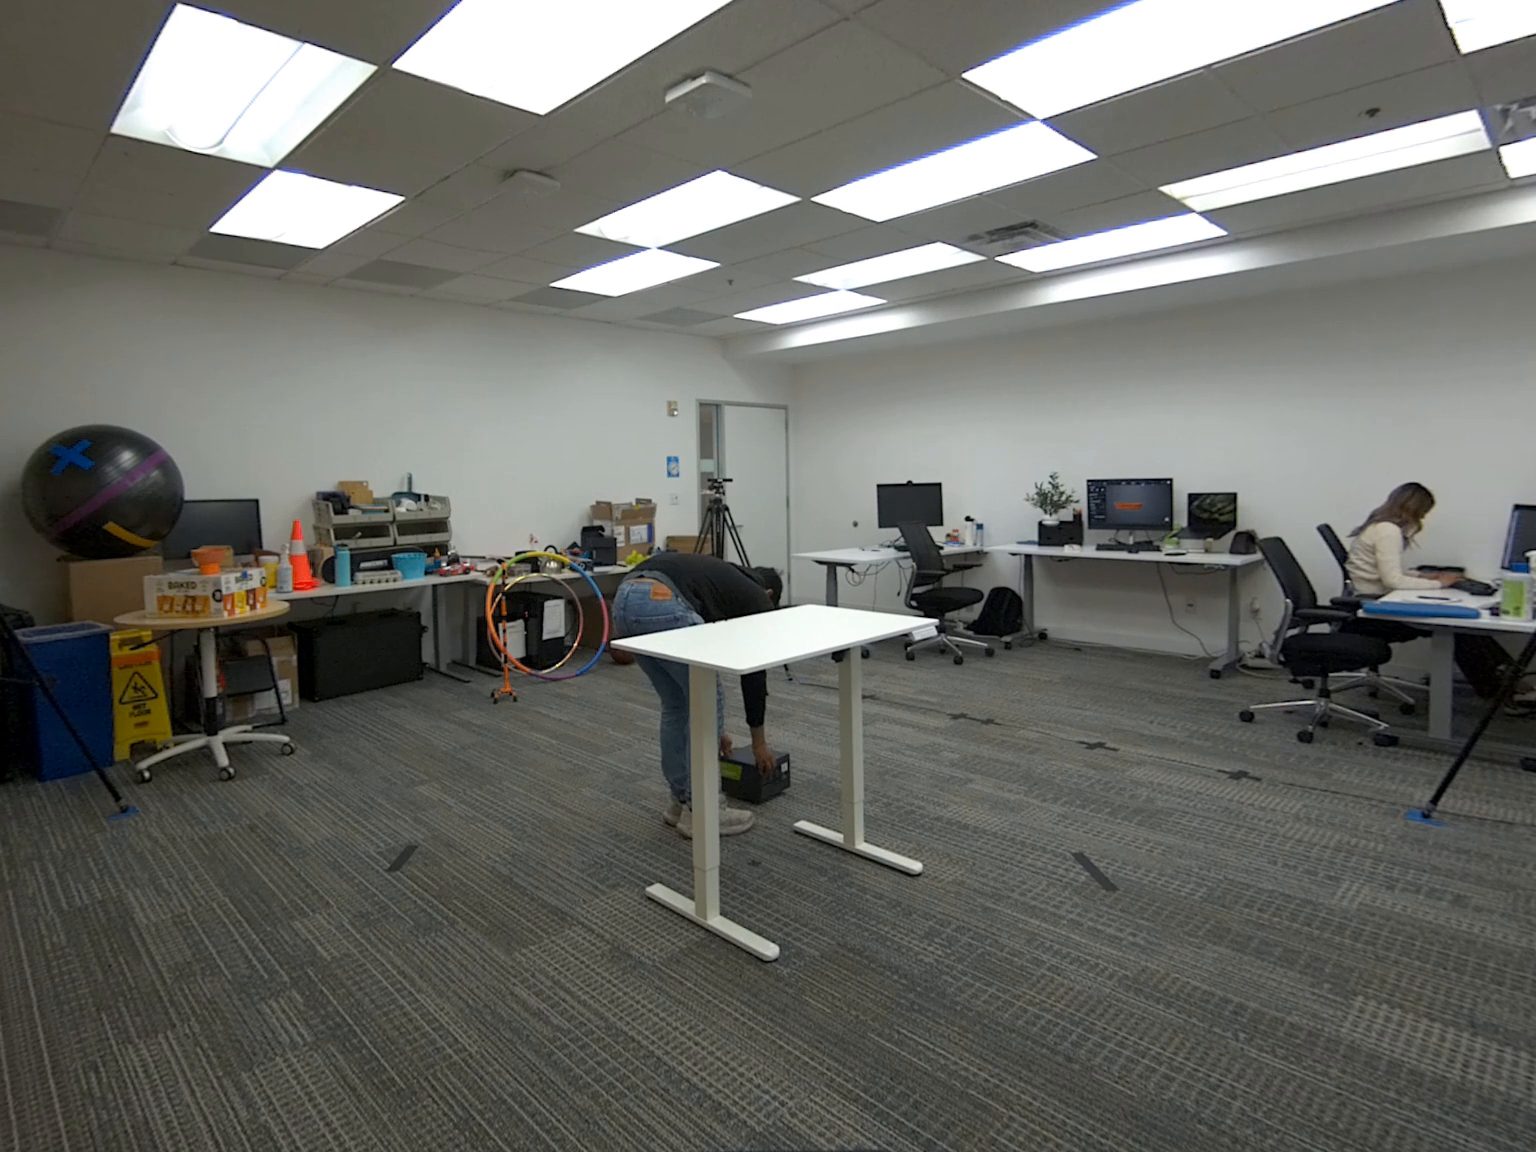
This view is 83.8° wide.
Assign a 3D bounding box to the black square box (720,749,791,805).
[{"bbox_3d":[-0.057,0.855,3.789,0.235,0.155,0.211,3,7,39],"label":"black square box"}]
